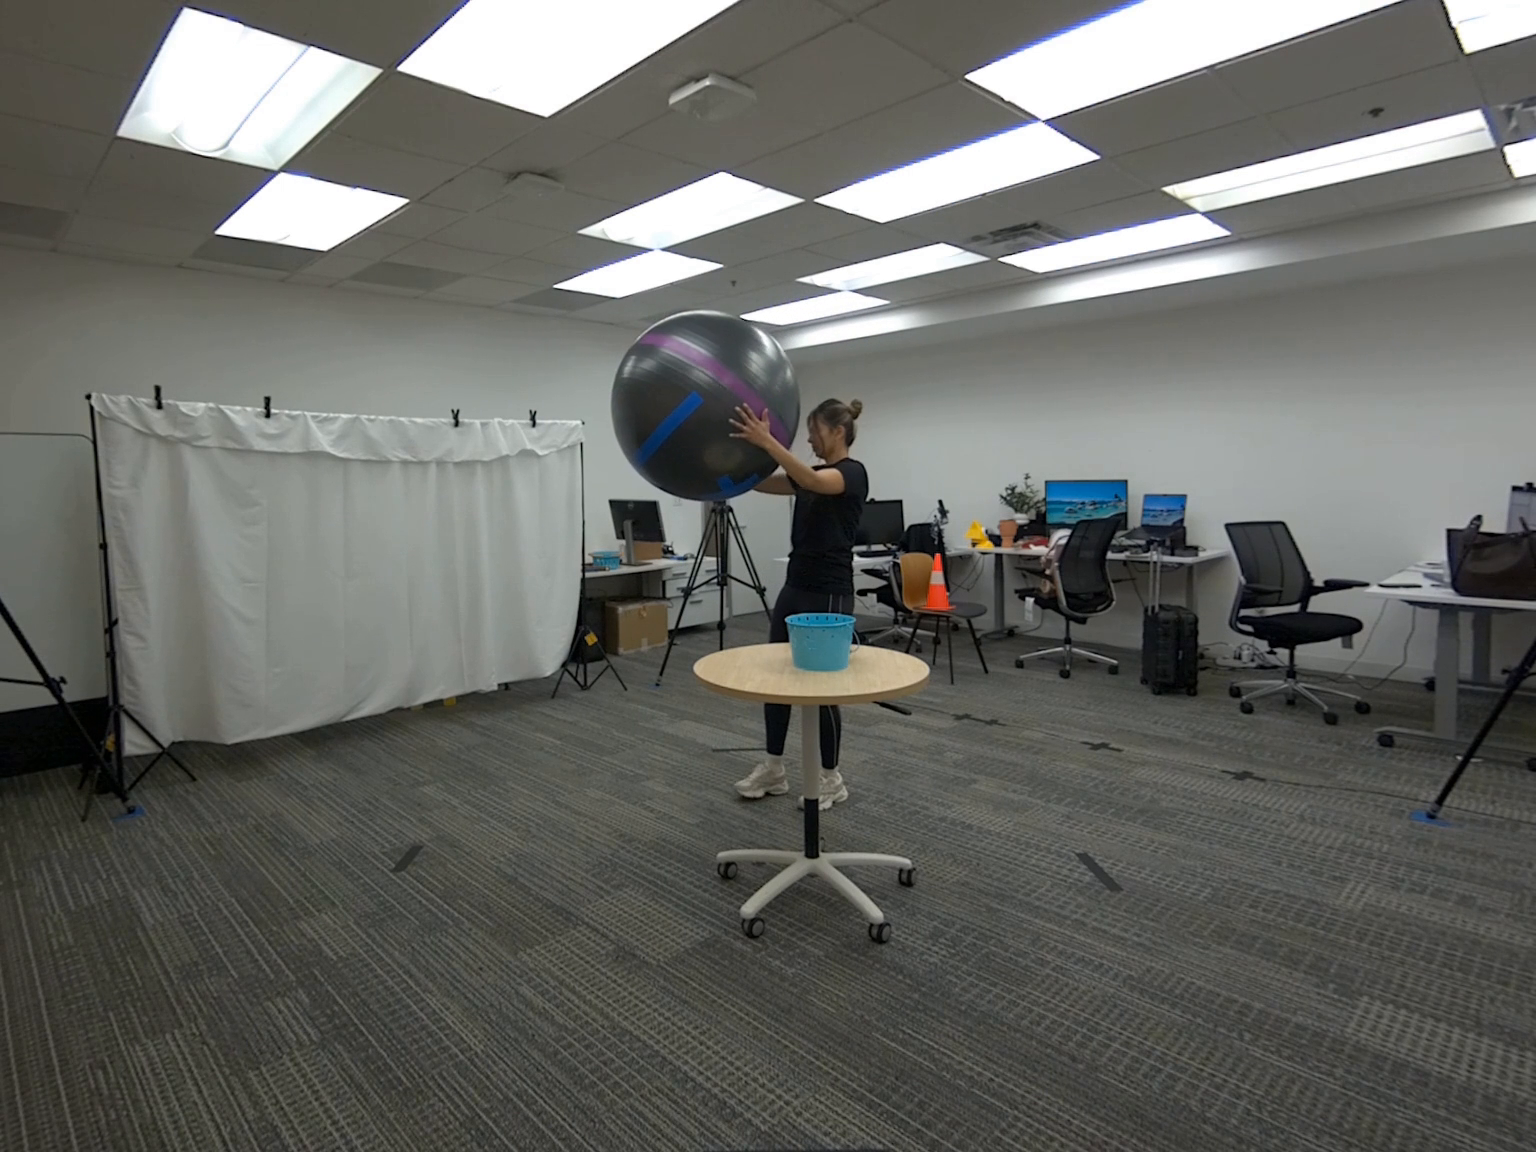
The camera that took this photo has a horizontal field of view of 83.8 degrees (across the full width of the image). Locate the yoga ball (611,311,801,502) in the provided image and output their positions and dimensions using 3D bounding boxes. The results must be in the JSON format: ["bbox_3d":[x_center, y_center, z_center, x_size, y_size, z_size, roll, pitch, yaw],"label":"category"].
[{"bbox_3d":[-0.255,-0.679,3.438,0.757,0.755,0.762,-1,5,-2],"label":"yoga ball"}]
